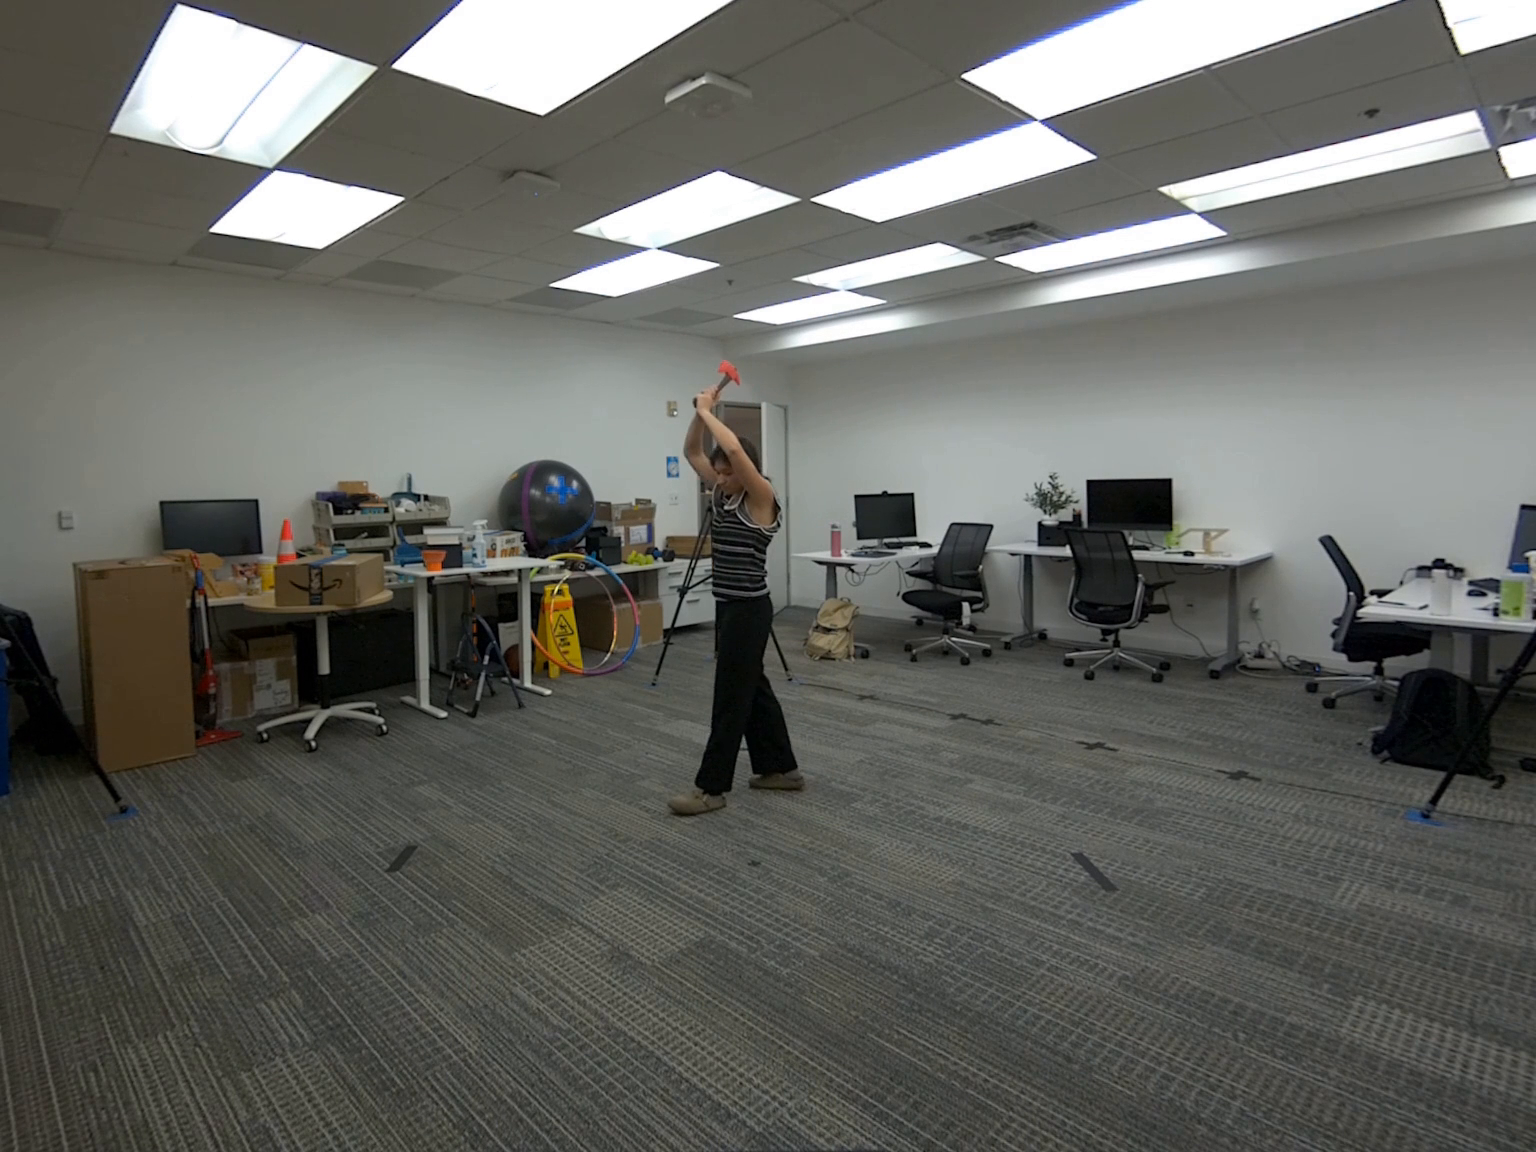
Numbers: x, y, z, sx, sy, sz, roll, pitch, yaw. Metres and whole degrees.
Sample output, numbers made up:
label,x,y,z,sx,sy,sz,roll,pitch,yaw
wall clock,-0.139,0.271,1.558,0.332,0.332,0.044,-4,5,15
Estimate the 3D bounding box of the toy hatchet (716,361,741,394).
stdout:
label,x,y,z,sx,sy,sz,roll,pitch,yaw
toy hatchet,-0.224,-0.822,3.601,0.030,0.127,0.268,13,39,45
